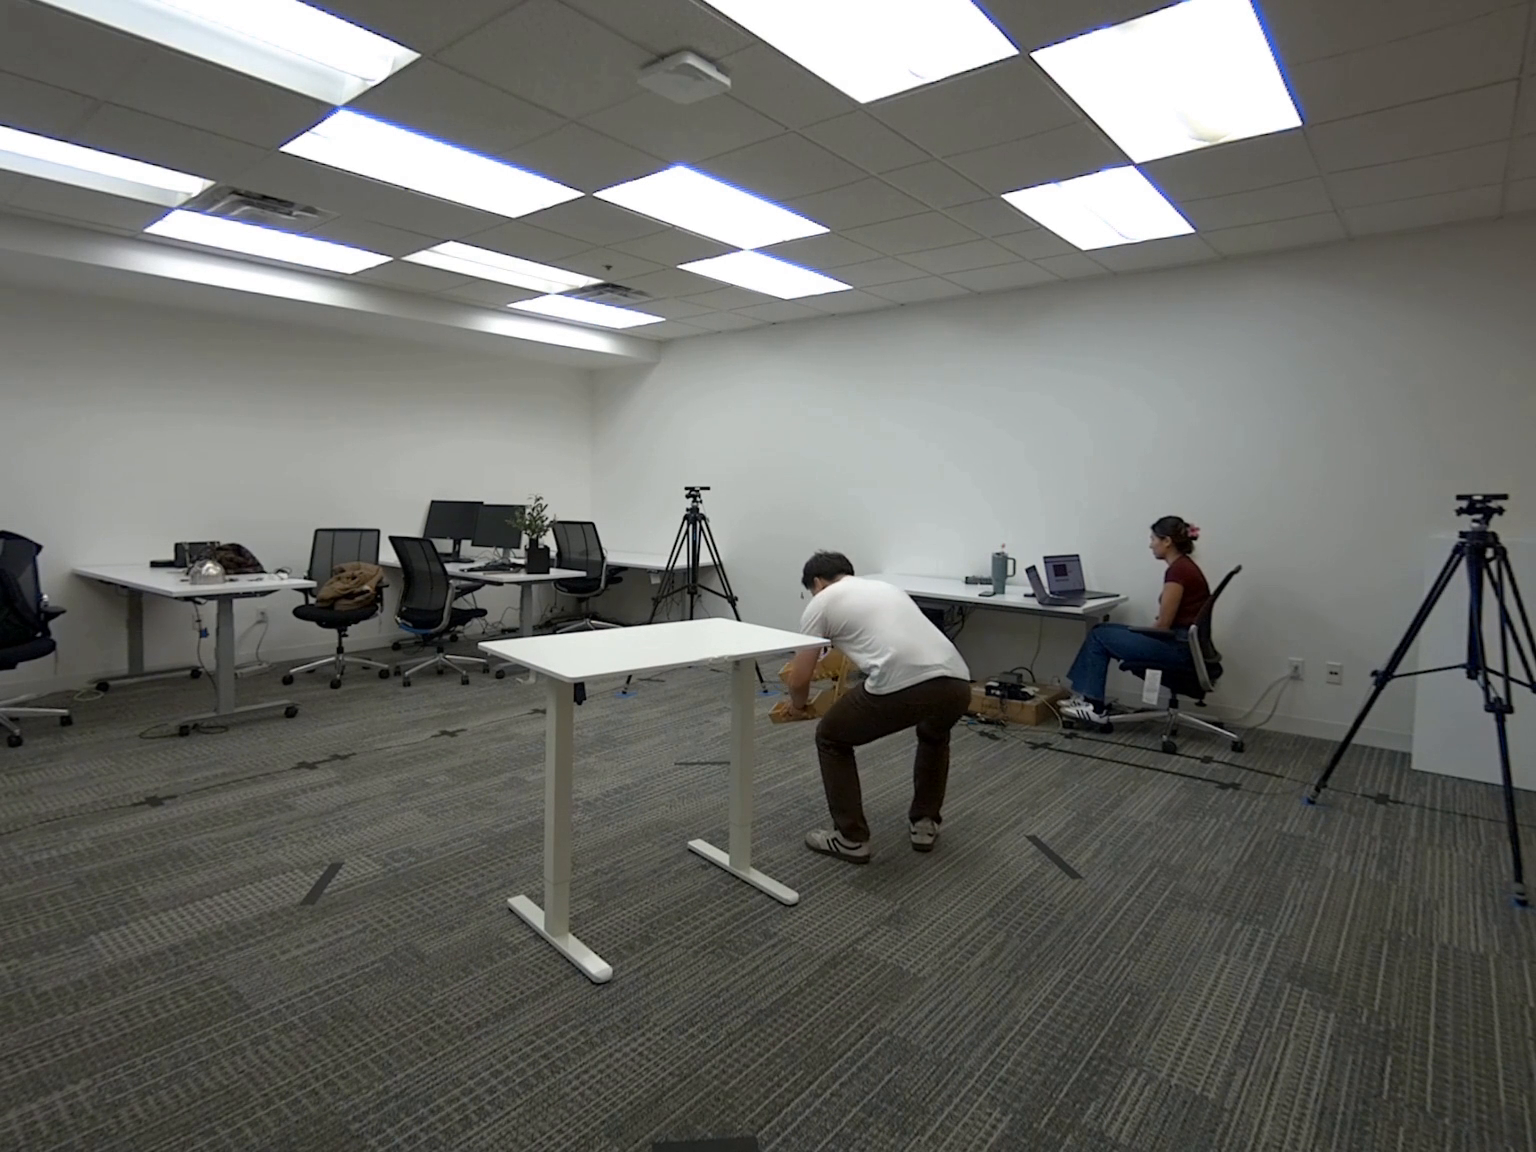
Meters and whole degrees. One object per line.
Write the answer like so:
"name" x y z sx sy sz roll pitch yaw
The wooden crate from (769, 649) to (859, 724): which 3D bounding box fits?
"wooden crate" 0.174 0.458 3.658 0.292 0.278 0.329 3 -18 -37
